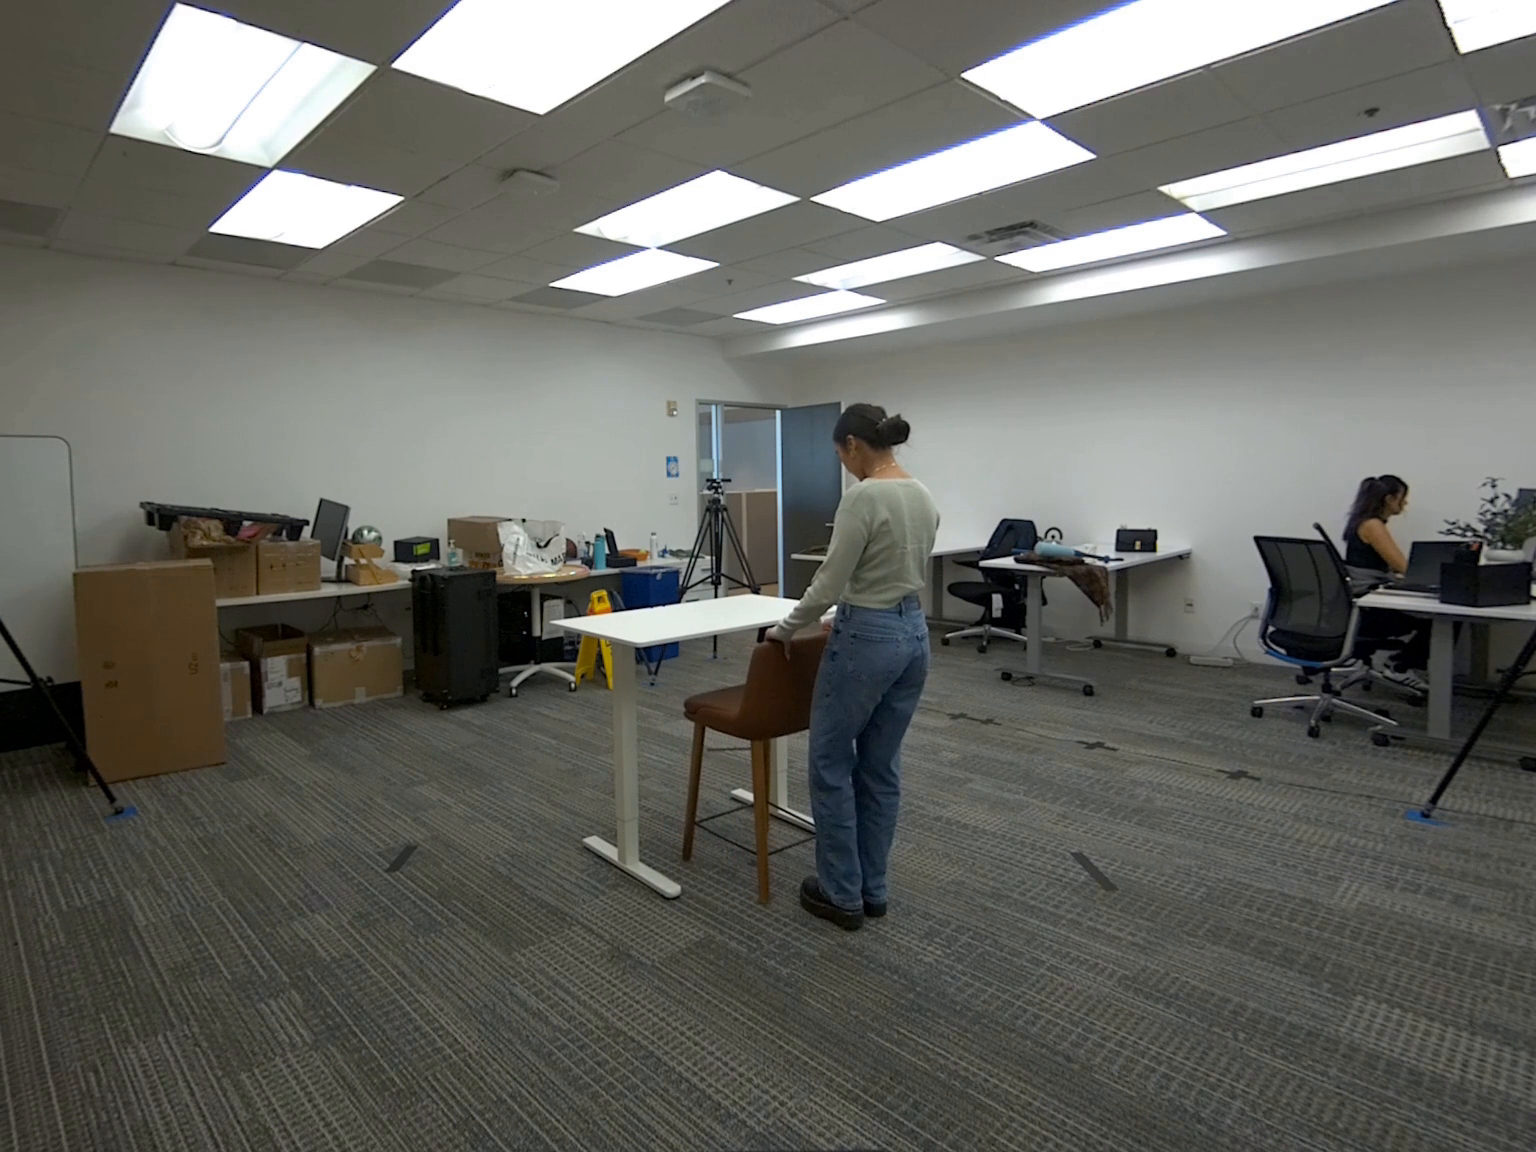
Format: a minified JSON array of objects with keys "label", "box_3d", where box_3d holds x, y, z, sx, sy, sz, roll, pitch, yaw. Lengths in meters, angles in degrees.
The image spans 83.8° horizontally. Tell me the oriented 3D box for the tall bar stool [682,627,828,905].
[{"label":"tall bar stool","box_3d":[-0.011,0.611,3.049,0.444,0.885,0.483,-3,7,-39]}]
